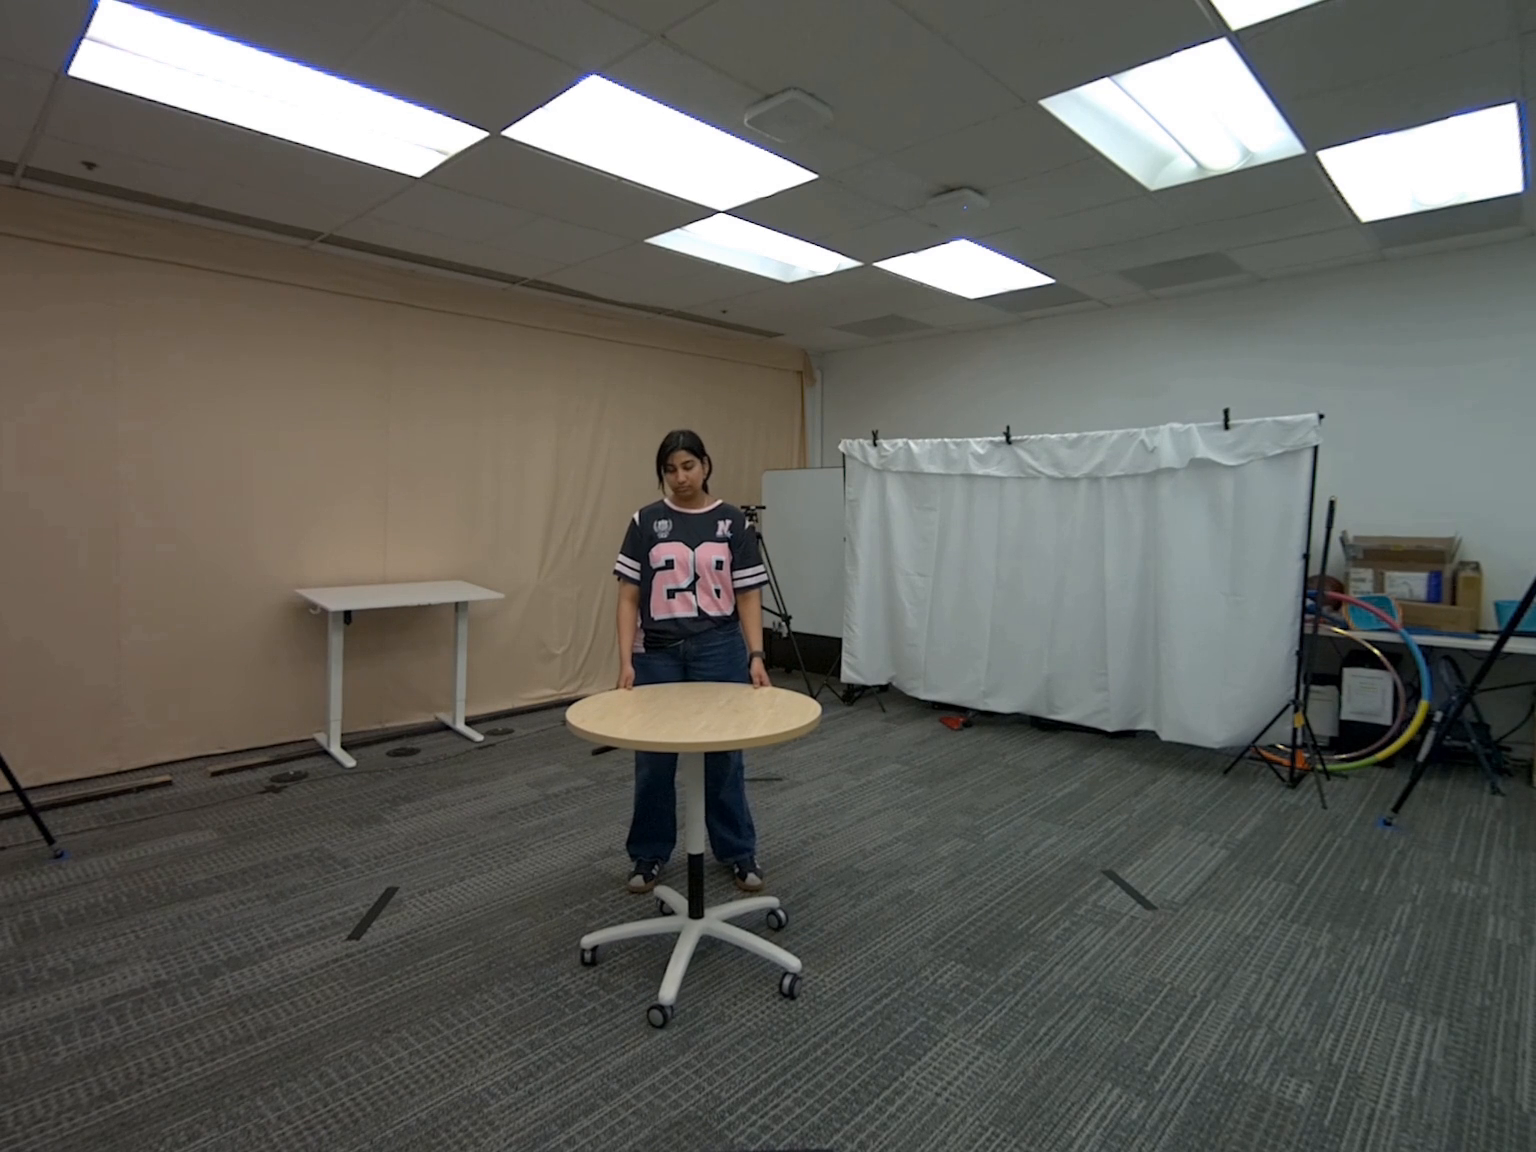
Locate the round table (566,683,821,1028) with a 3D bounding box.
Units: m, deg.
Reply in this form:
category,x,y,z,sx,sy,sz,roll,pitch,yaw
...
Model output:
category,x,y,z,sx,sy,sz,roll,pitch,yaw
round table,-0.216,0.791,2.553,0.763,0.792,0.766,-1,3,-2
